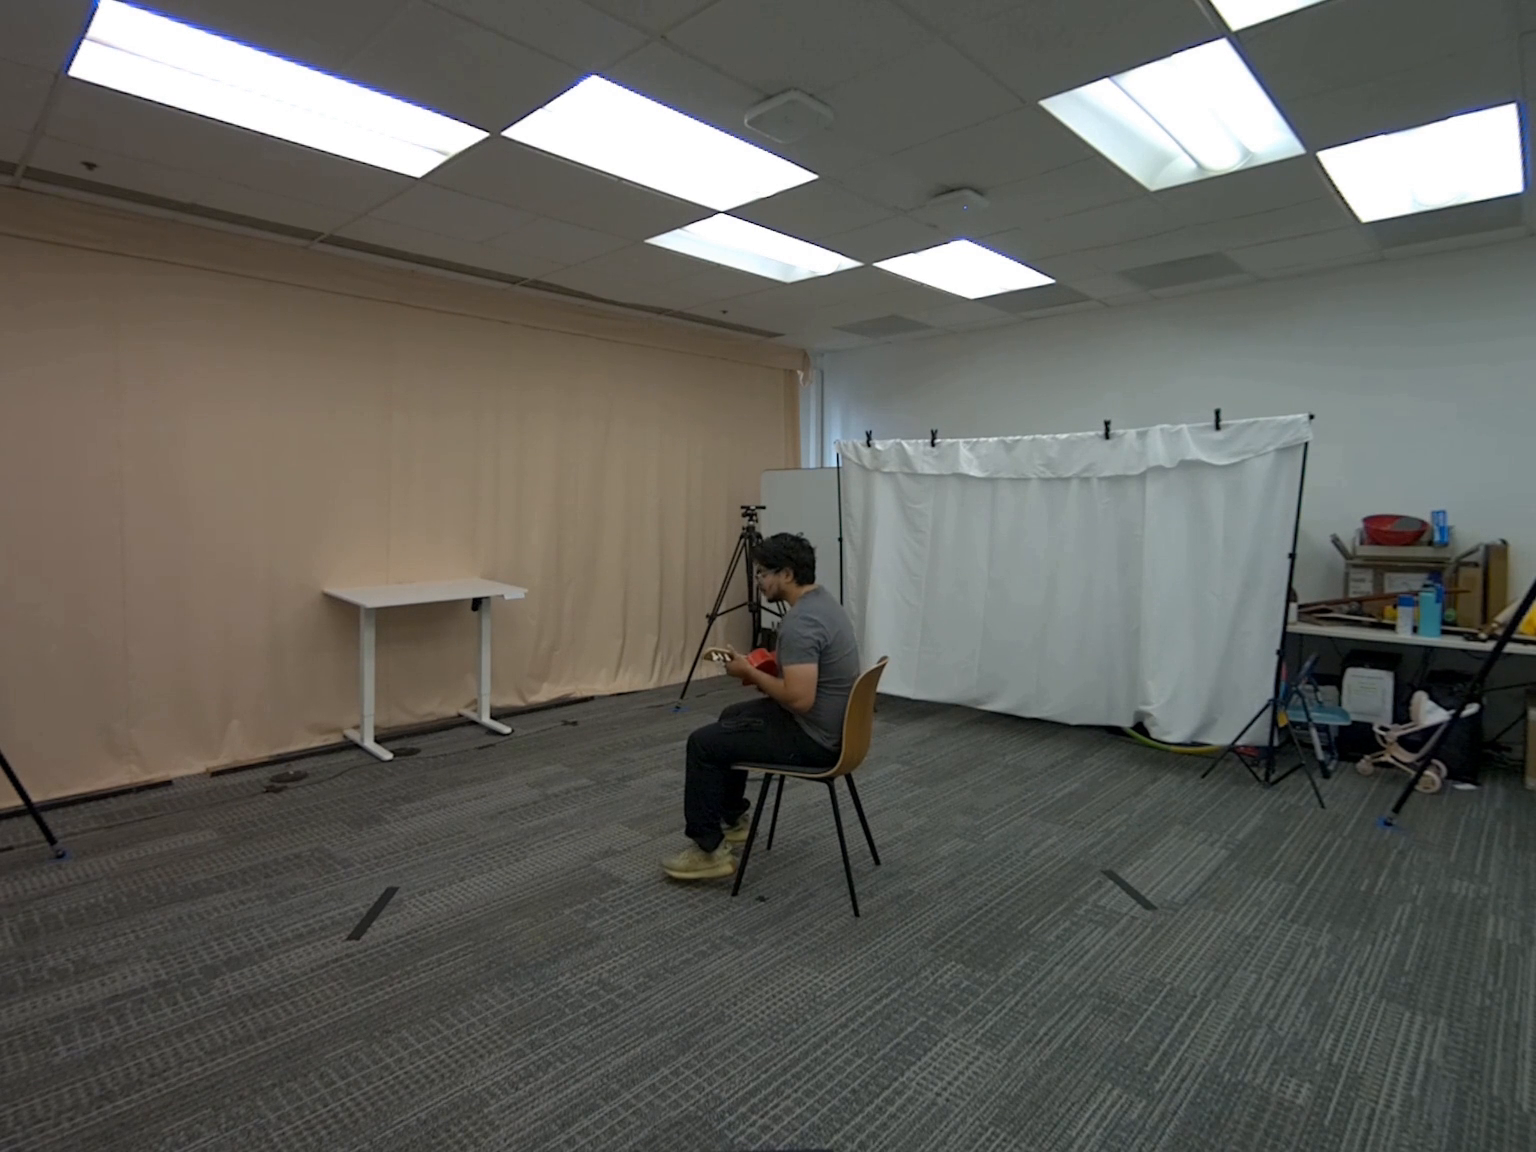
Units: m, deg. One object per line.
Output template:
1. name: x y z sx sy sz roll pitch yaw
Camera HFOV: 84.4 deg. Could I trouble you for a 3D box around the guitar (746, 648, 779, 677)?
1. guitar: -0.087 0.347 3.104 0.481 0.193 0.073 7 39 -48
